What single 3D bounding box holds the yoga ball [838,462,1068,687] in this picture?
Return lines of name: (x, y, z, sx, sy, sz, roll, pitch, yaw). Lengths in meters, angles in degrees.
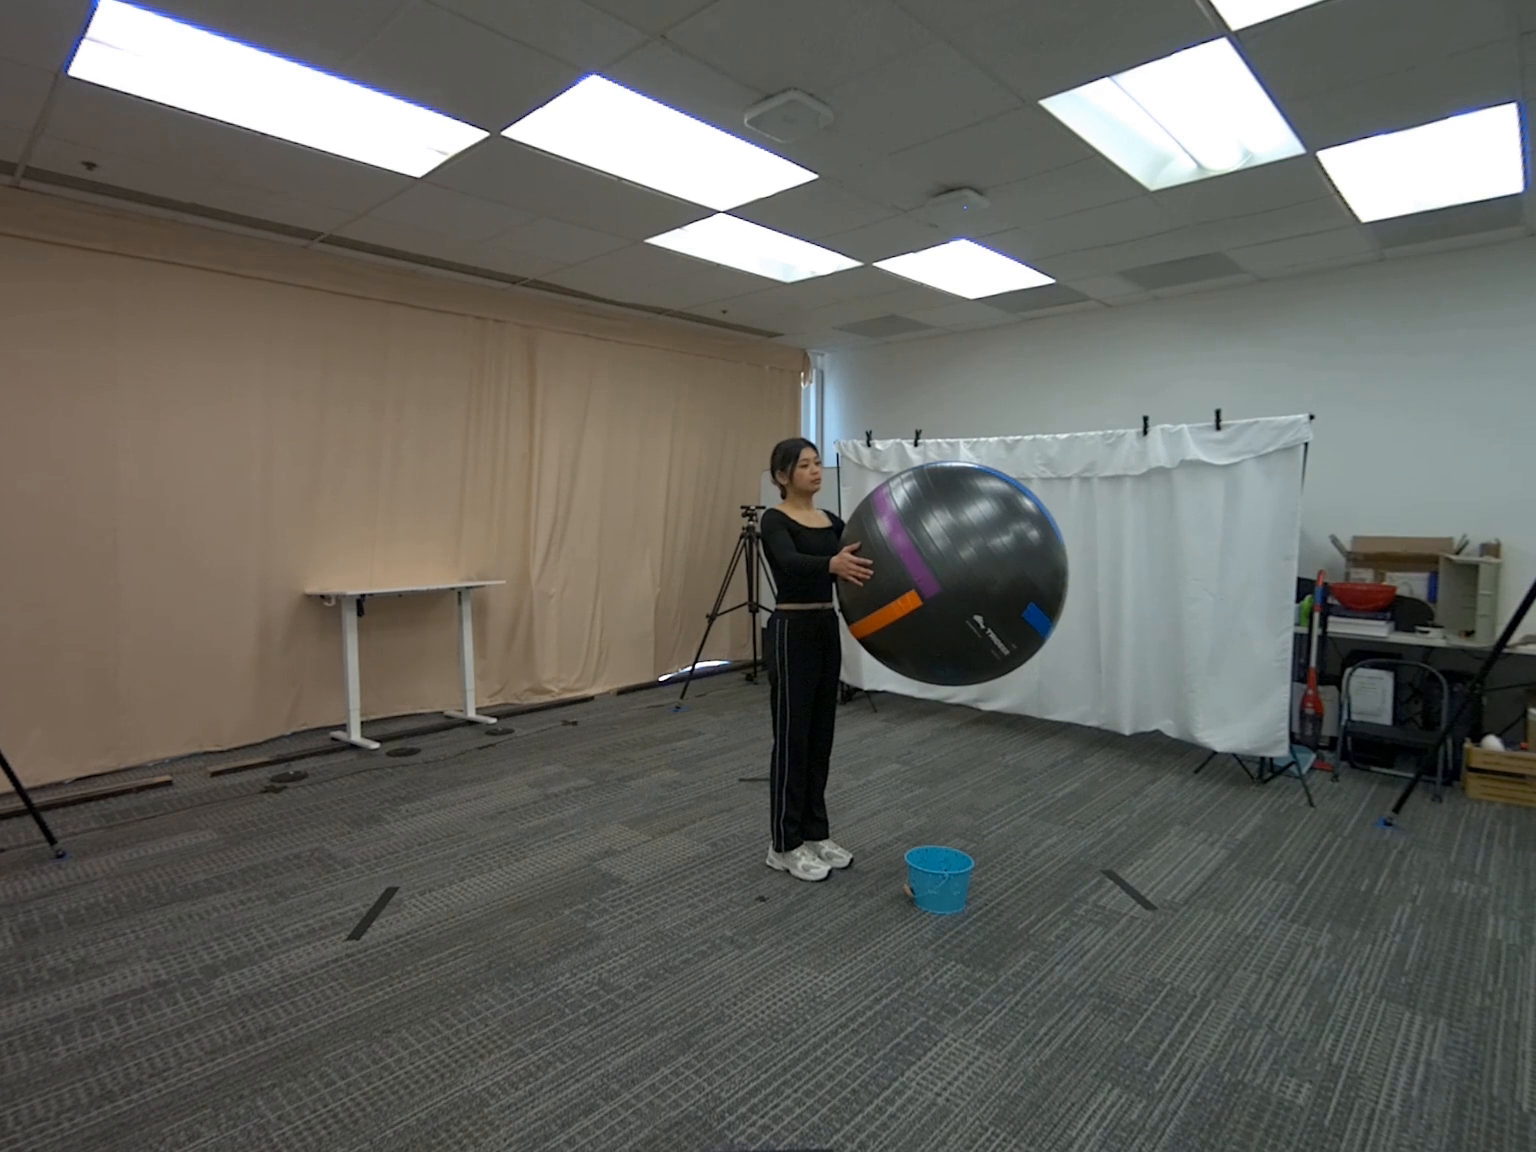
yoga ball: (0.617, -0.002, 2.841, 0.757, 0.756, 0.760, 0, 4, -2)
